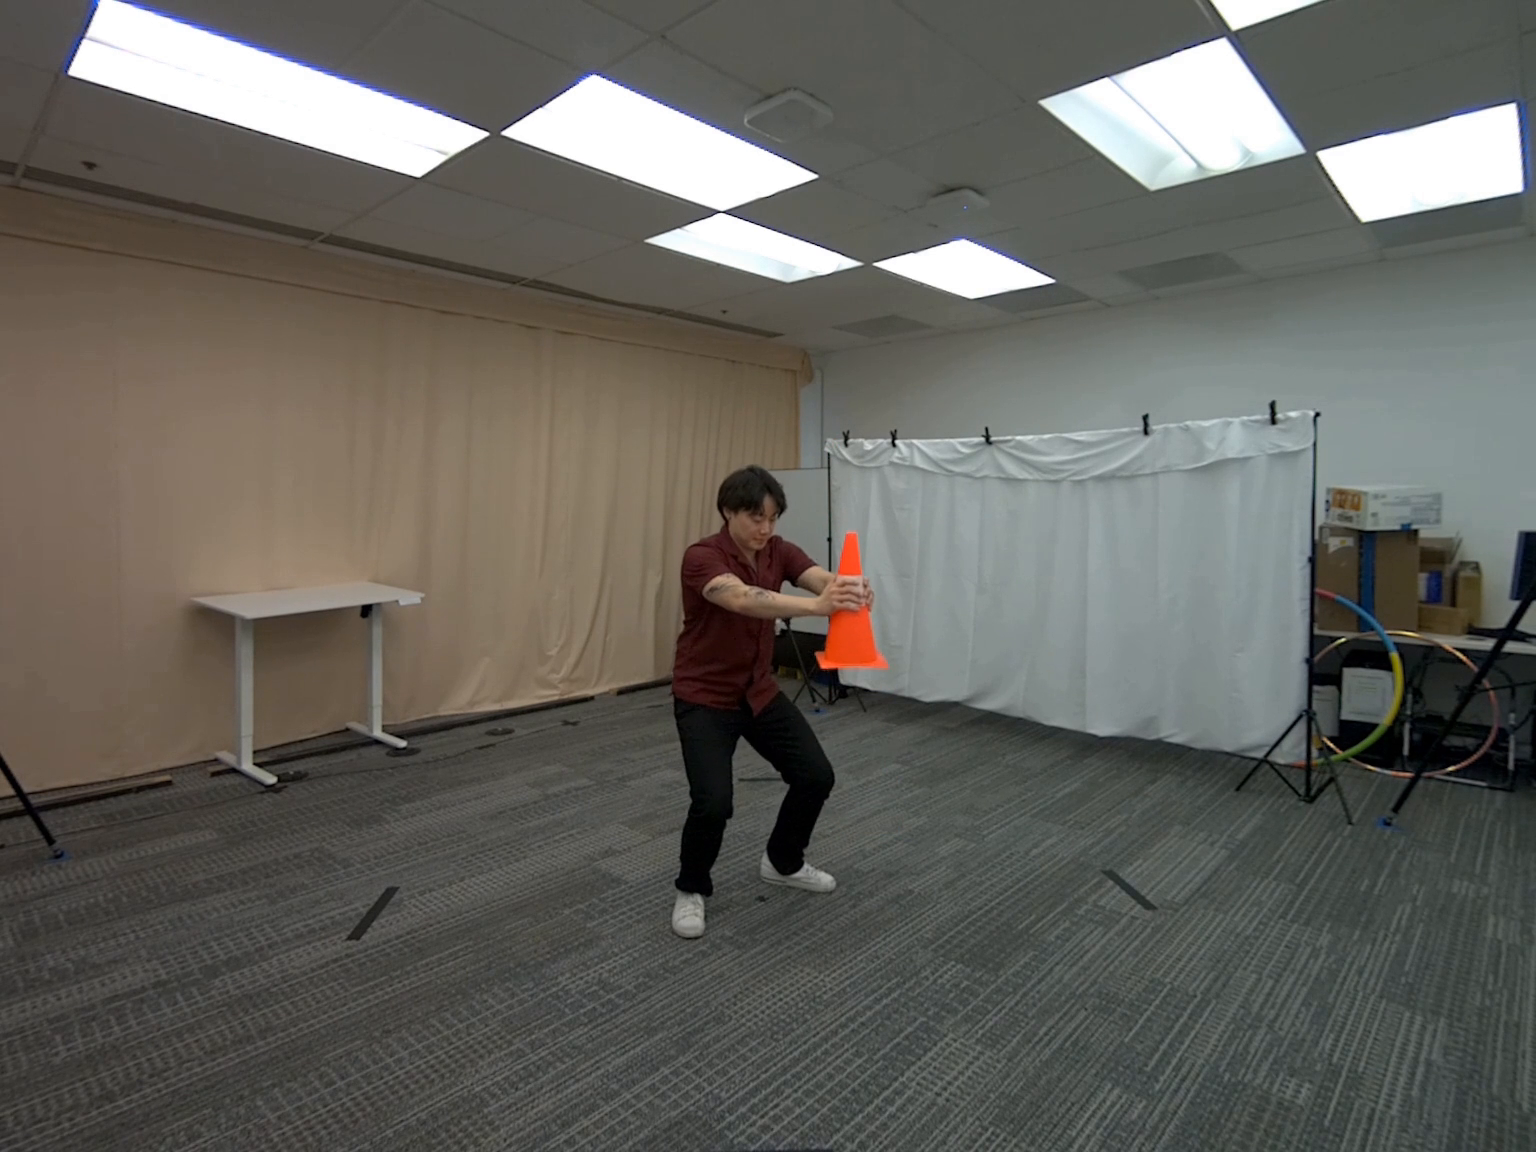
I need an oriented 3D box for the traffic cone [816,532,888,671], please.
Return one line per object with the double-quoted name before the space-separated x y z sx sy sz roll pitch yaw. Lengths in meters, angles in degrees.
"traffic cone" 0.253 0.068 2.489 0.204 0.383 0.205 0 4 2
